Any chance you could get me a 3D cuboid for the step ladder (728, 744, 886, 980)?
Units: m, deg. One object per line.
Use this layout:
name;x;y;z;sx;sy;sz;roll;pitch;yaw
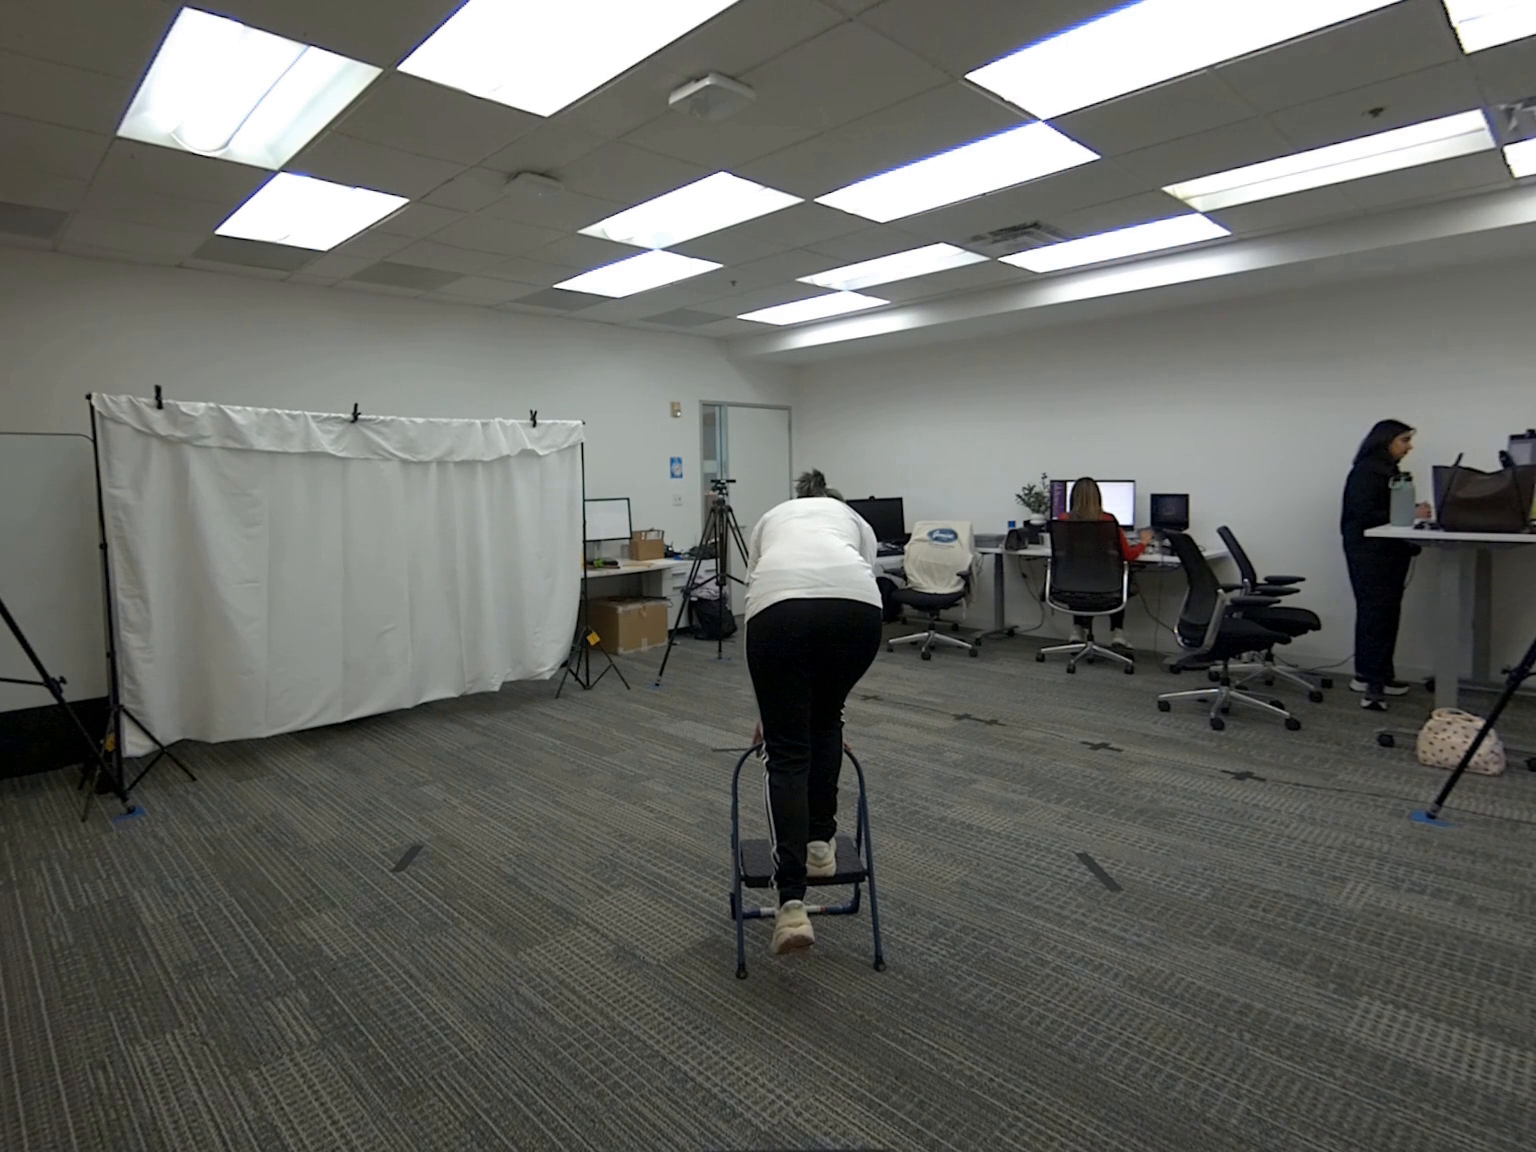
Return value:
step ladder;0.103;0.810;2.566;0.429;0.604;0.352;-2;4;-5
